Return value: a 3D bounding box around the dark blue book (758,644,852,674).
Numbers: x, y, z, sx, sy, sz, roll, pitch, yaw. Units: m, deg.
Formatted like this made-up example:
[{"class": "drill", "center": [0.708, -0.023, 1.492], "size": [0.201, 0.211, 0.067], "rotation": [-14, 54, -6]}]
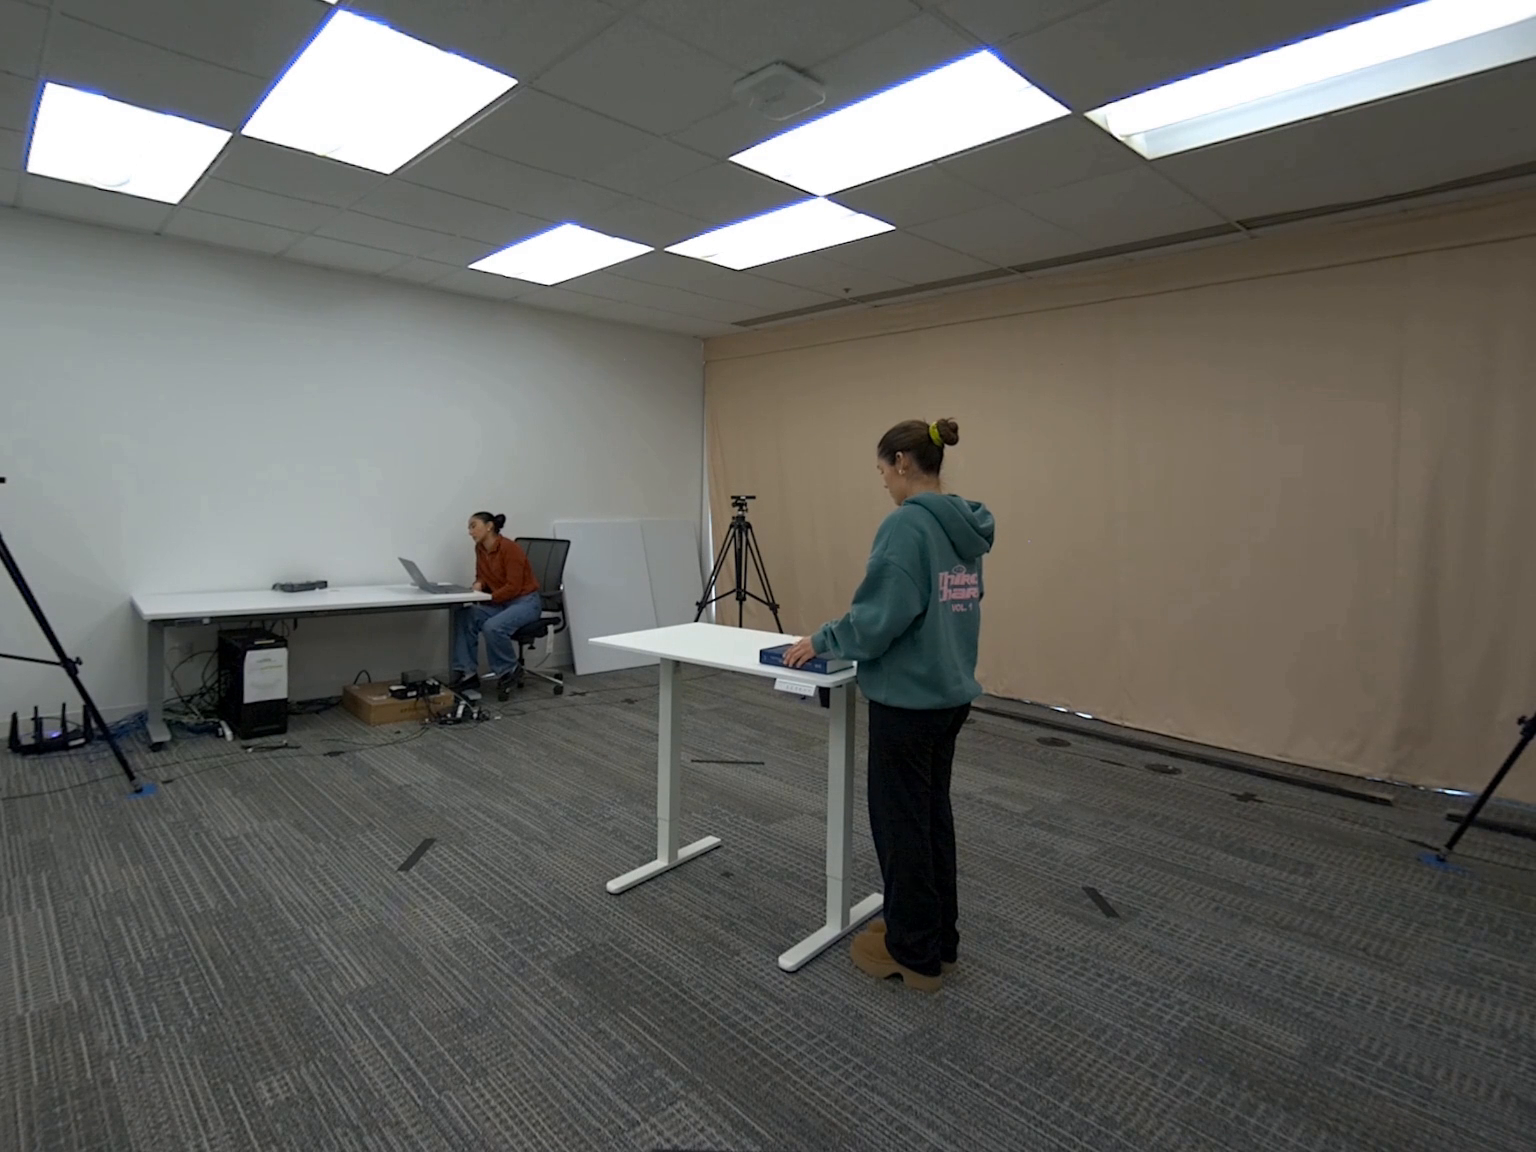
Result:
[{"class": "dark blue book", "center": [0.110, 0.253, 2.576], "size": [0.251, 0.045, 0.160], "rotation": [6, 8, 34]}]
